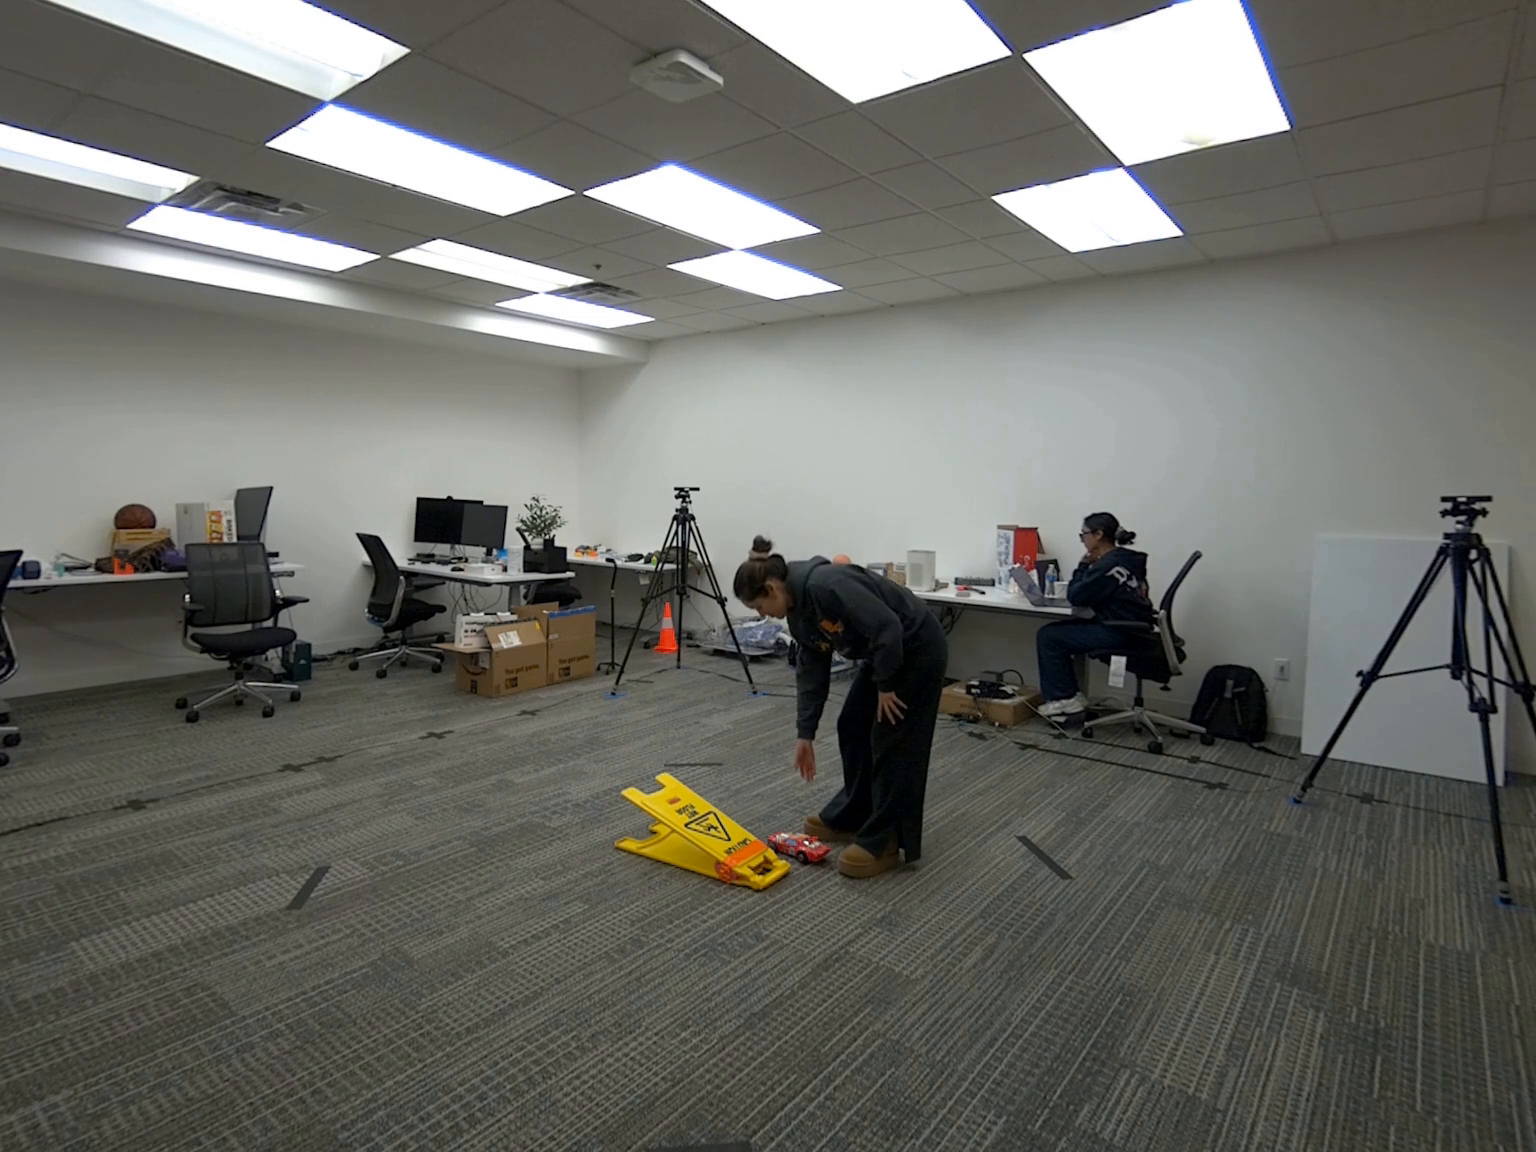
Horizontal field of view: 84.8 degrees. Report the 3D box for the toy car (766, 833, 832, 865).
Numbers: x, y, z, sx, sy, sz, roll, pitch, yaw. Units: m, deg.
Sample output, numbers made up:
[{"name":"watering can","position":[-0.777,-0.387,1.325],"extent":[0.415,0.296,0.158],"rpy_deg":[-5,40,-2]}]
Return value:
[{"name":"toy car","position":[0.125,1.029,3.239],"extent":[0.261,0.083,0.126],"rpy_deg":[-7,-3,43]}]
